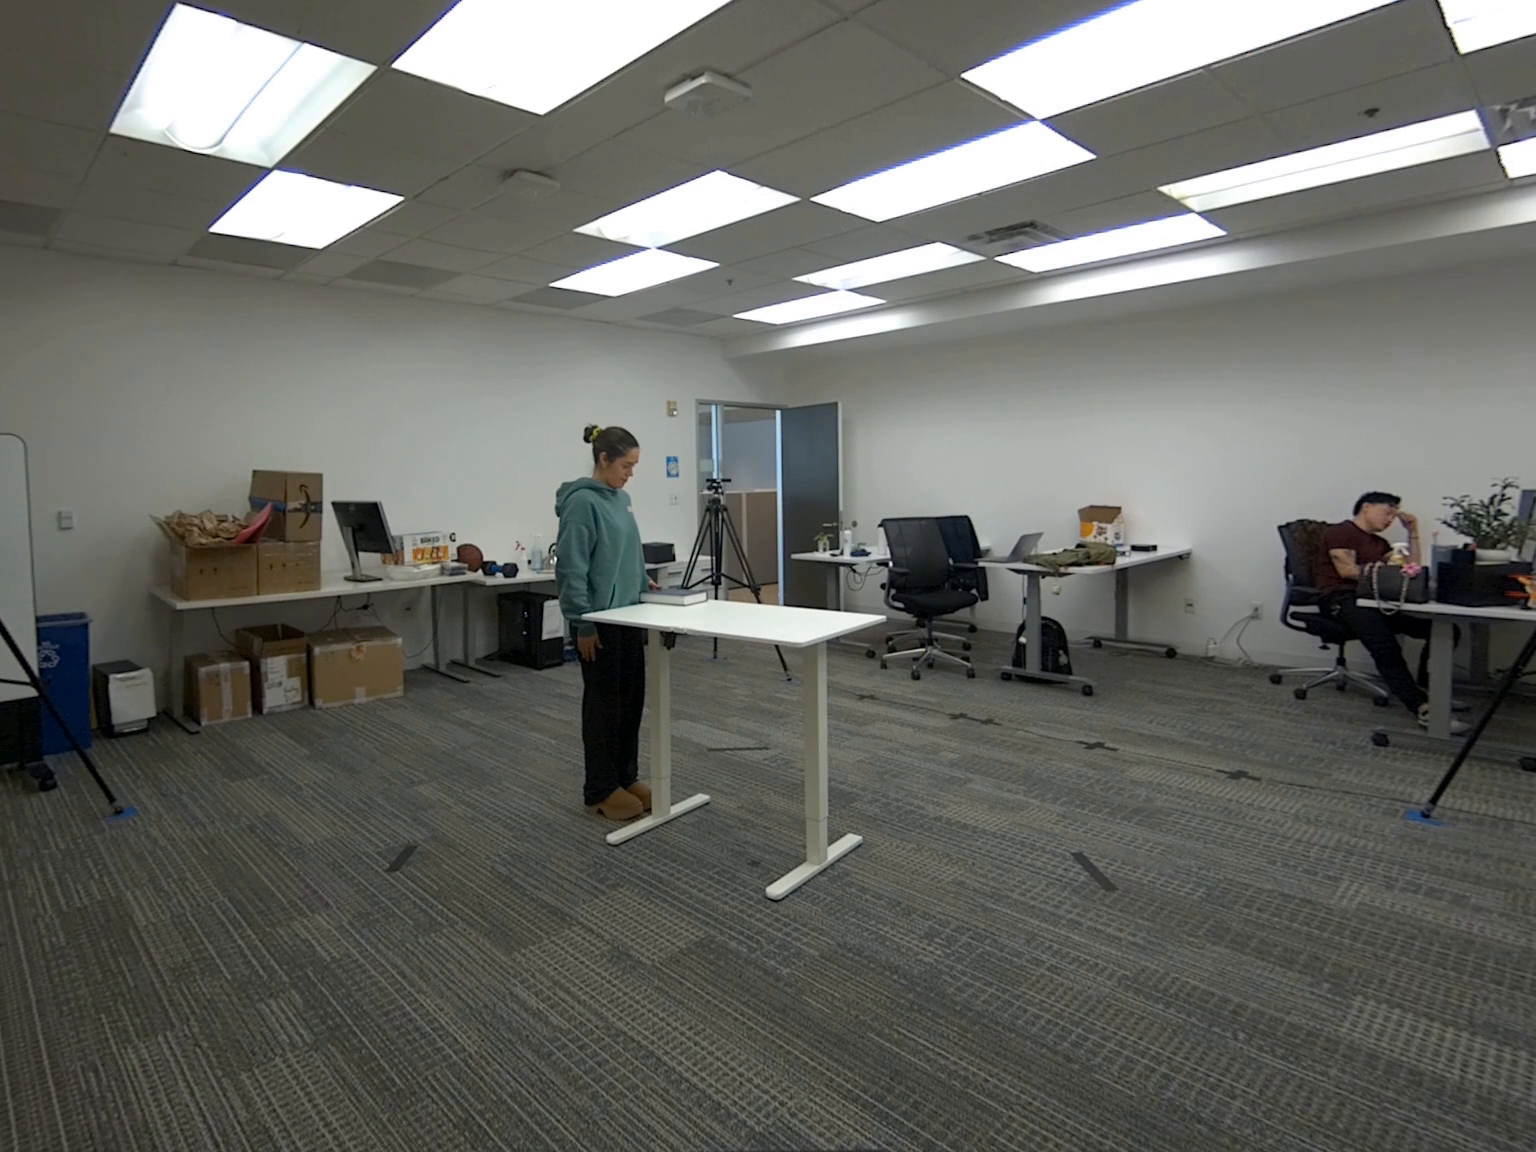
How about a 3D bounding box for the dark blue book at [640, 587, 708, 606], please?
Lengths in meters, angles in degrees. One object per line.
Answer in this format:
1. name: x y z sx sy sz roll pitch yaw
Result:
1. dark blue book: -0.404 0.088 3.618 0.252 0.045 0.159 3 6 32
